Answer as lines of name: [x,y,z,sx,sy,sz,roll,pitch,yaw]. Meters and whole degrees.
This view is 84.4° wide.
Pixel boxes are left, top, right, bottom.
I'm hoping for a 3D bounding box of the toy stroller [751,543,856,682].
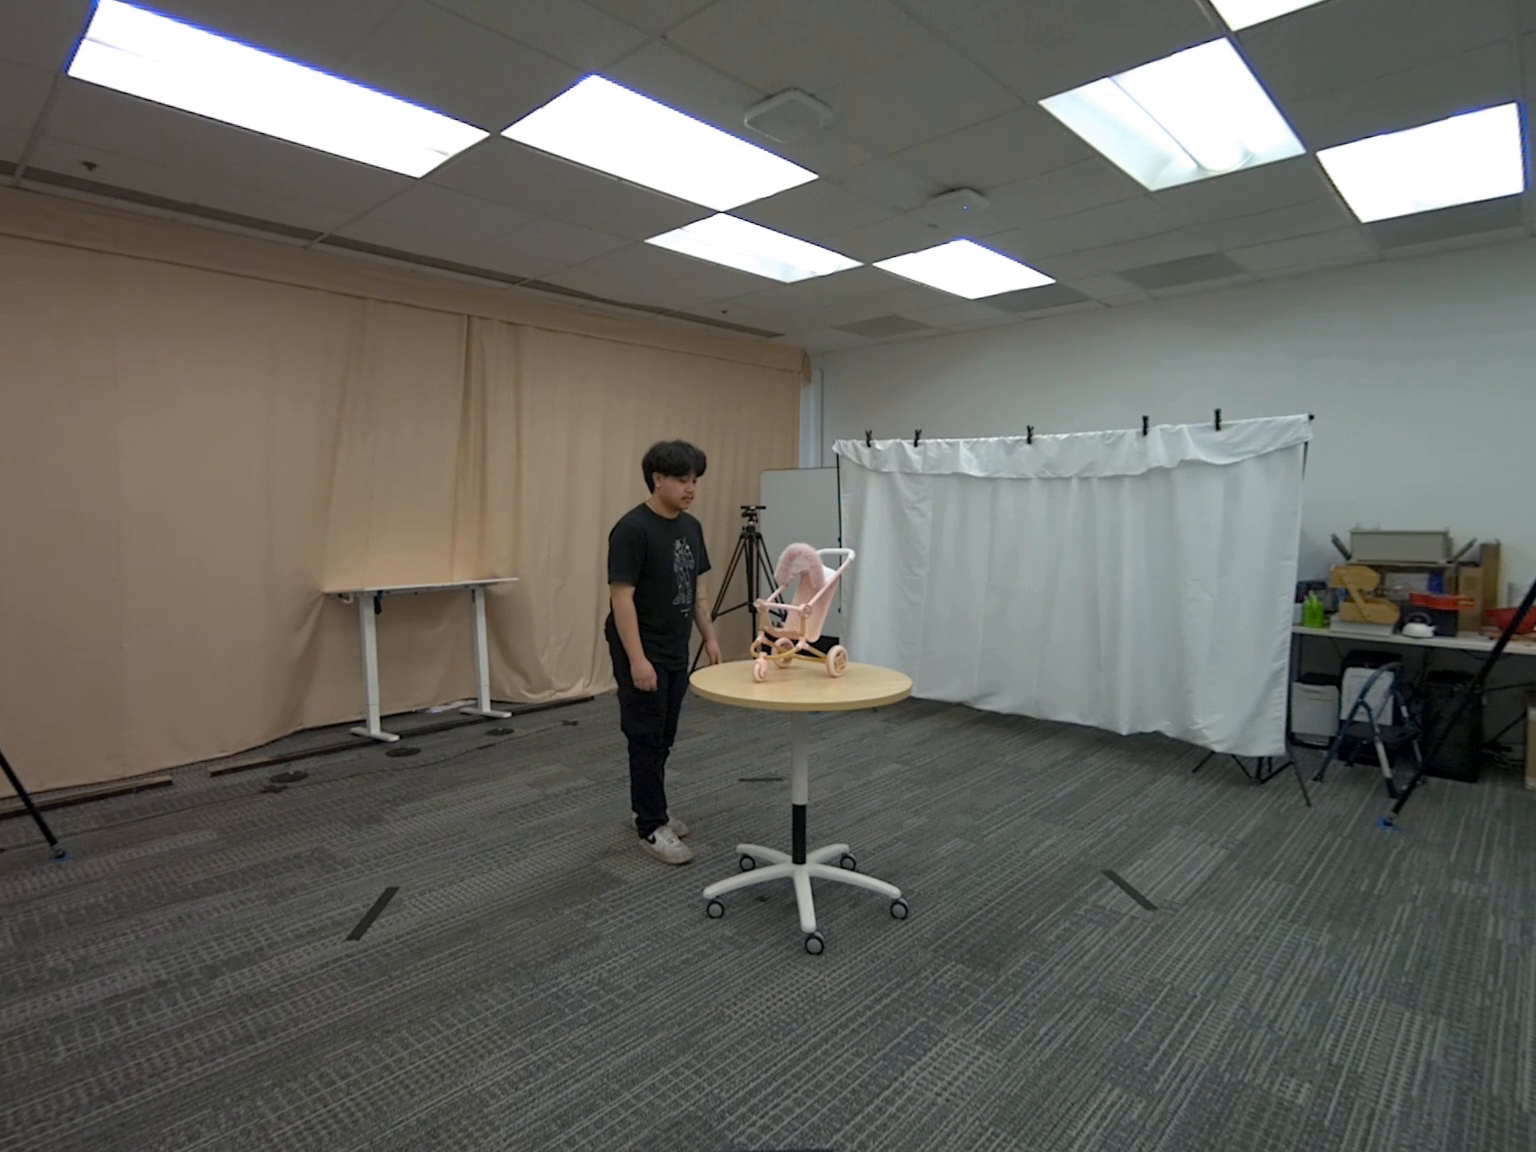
toy stroller: [0.111,0.126,2.979,0.329,0.536,0.291,17,-10,-41]
